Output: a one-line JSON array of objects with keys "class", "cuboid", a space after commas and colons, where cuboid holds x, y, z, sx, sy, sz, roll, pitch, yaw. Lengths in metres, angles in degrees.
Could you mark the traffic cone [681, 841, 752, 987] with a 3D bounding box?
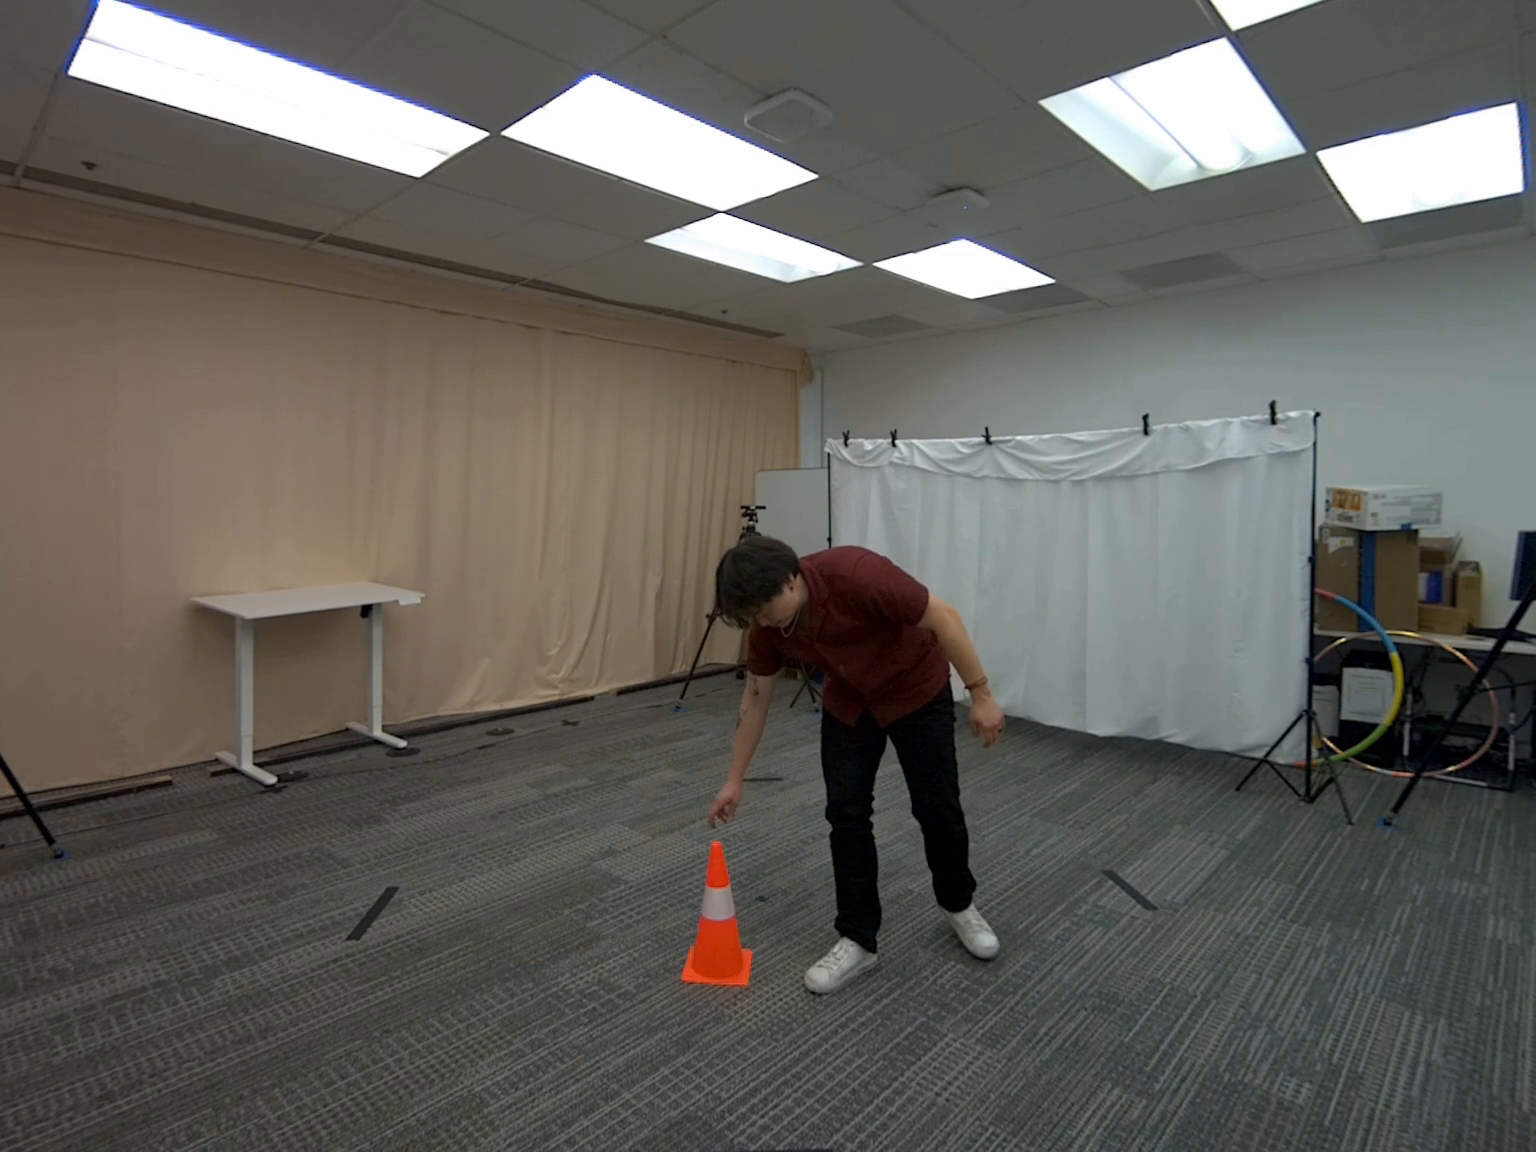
[{"class": "traffic cone", "cuboid": [-0.147, 1.005, 2.530, 0.205, 0.383, 0.204, 0, 4, 7]}]
